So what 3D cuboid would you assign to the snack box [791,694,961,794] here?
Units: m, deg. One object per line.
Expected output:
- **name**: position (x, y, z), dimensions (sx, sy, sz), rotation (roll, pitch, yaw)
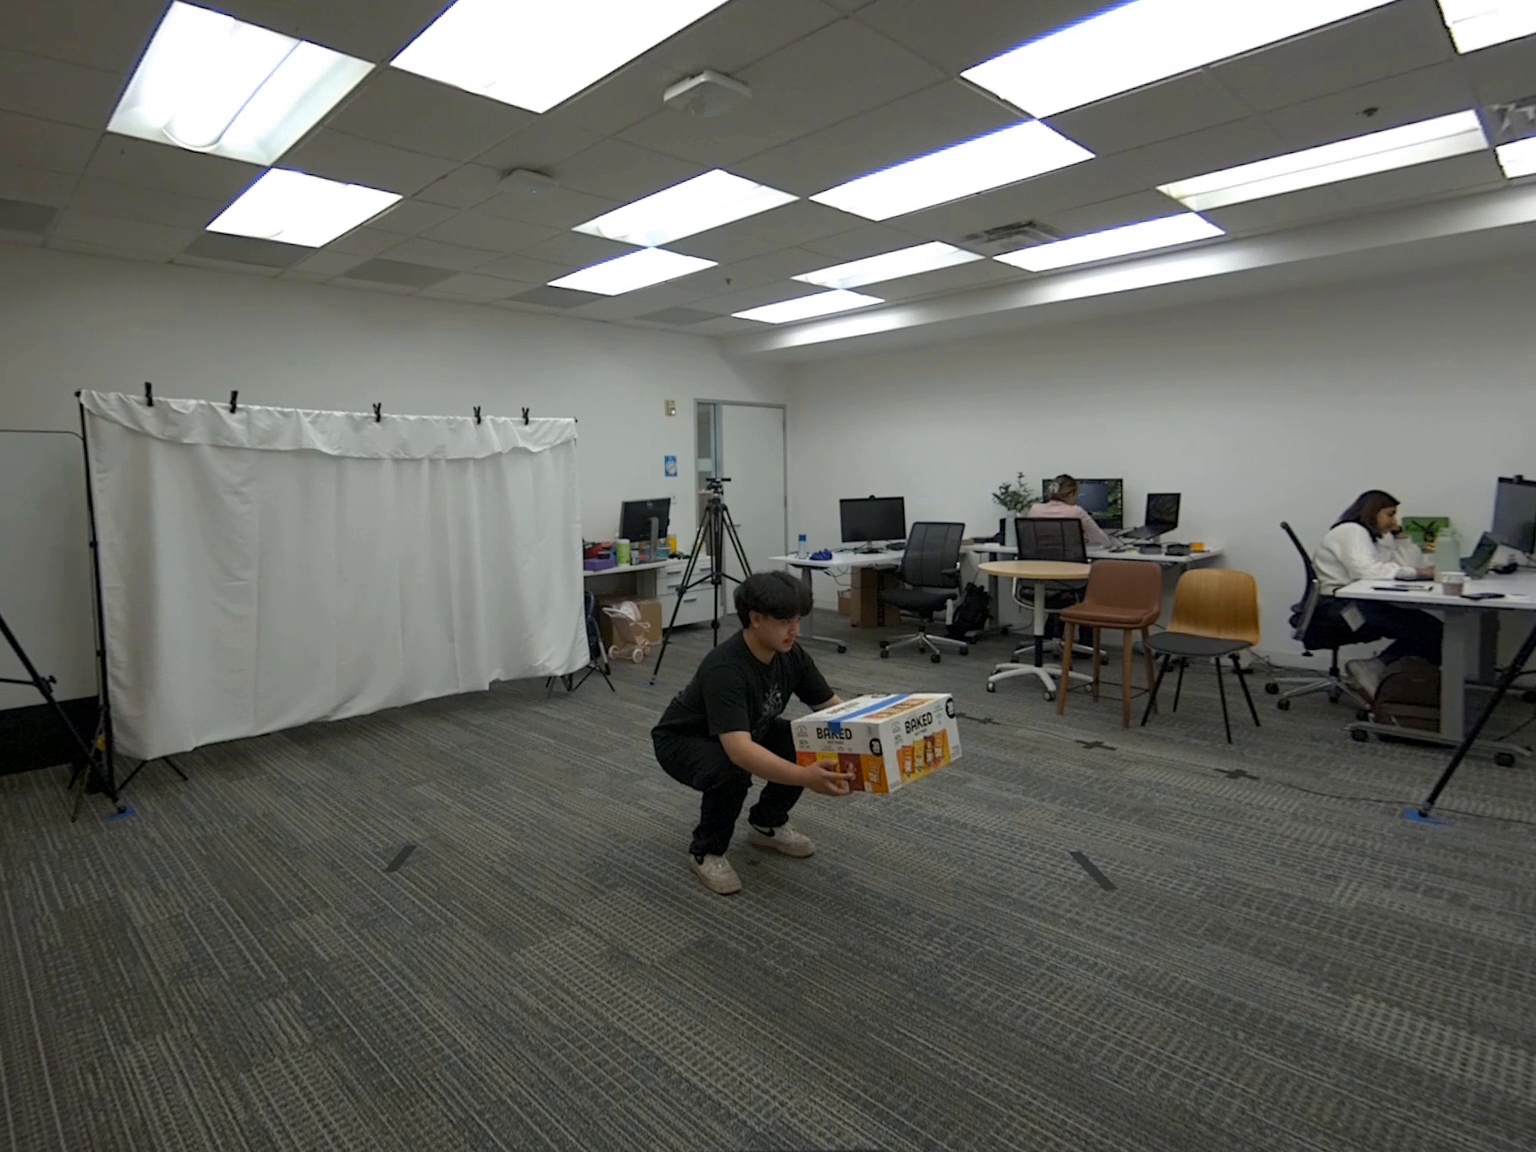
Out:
- **snack box**: position (0.343, 0.515, 2.683), dimensions (0.348, 0.206, 0.395), rotation (-9, -1, 44)
